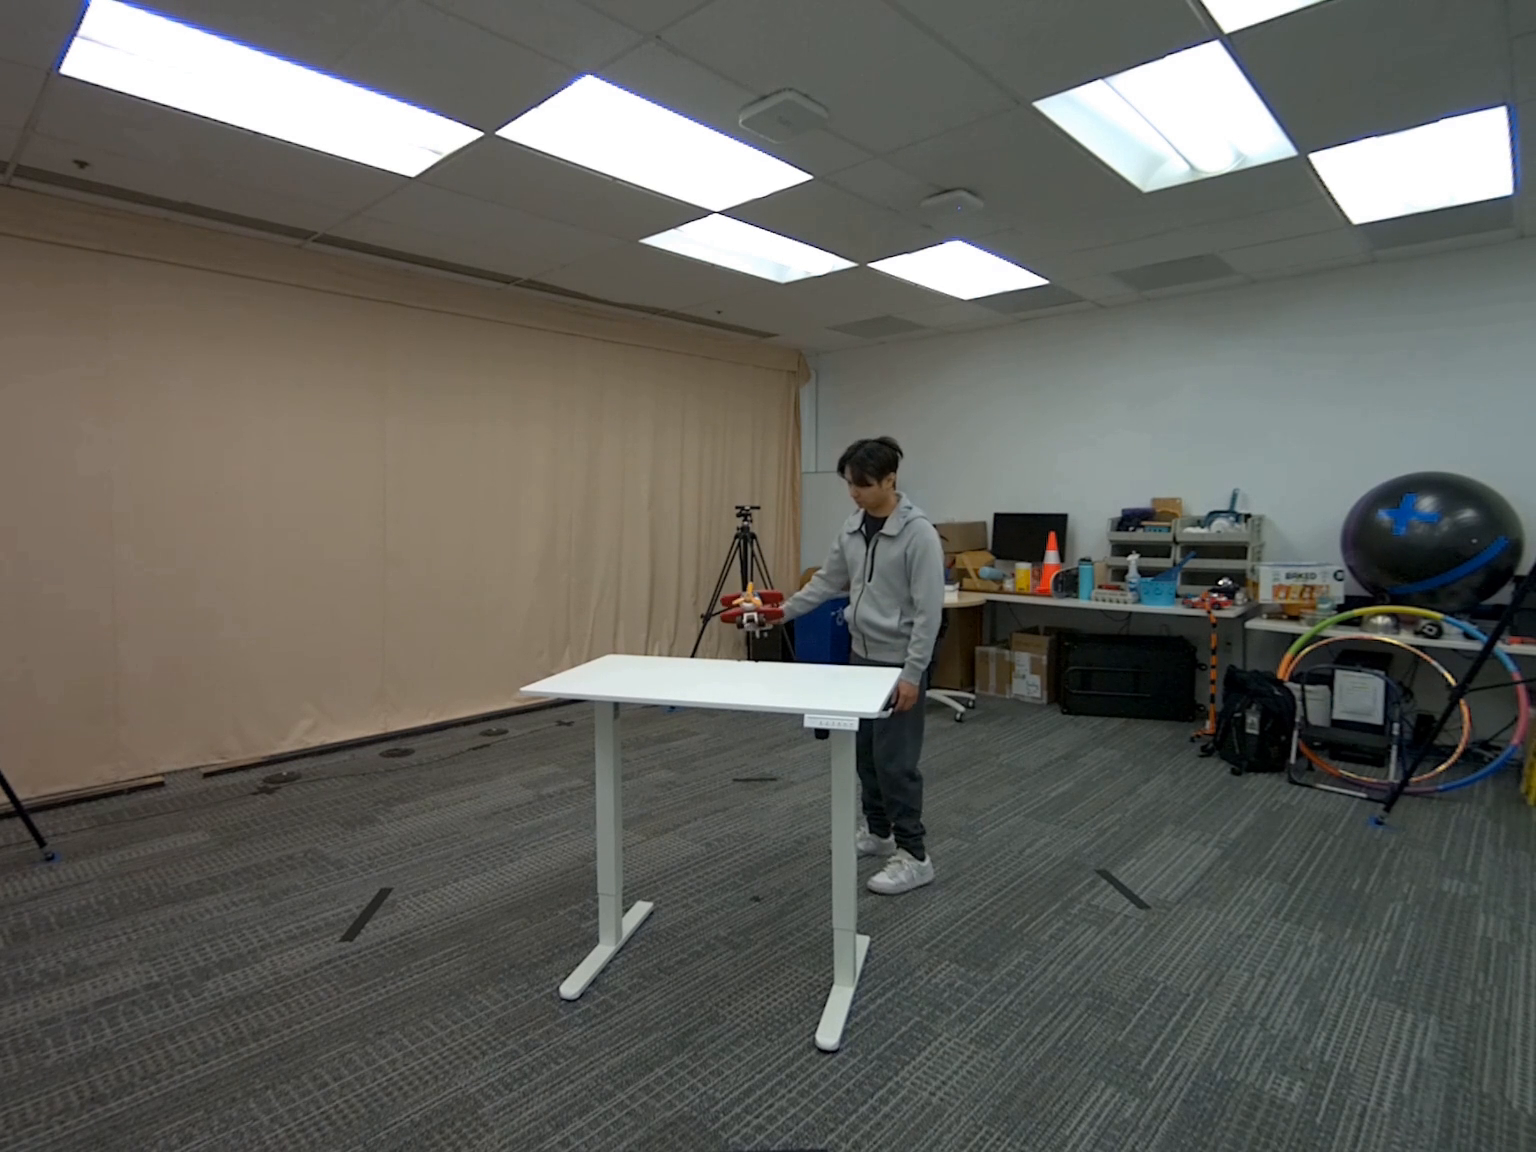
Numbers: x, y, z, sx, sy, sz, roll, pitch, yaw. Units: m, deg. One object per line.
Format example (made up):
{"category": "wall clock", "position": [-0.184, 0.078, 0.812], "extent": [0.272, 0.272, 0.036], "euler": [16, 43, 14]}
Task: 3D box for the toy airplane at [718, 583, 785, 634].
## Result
{"category": "toy airplane", "position": [-0.072, 0.157, 3.371], "extent": [0.247, 0.158, 0.261], "euler": [6, -20, -17]}
